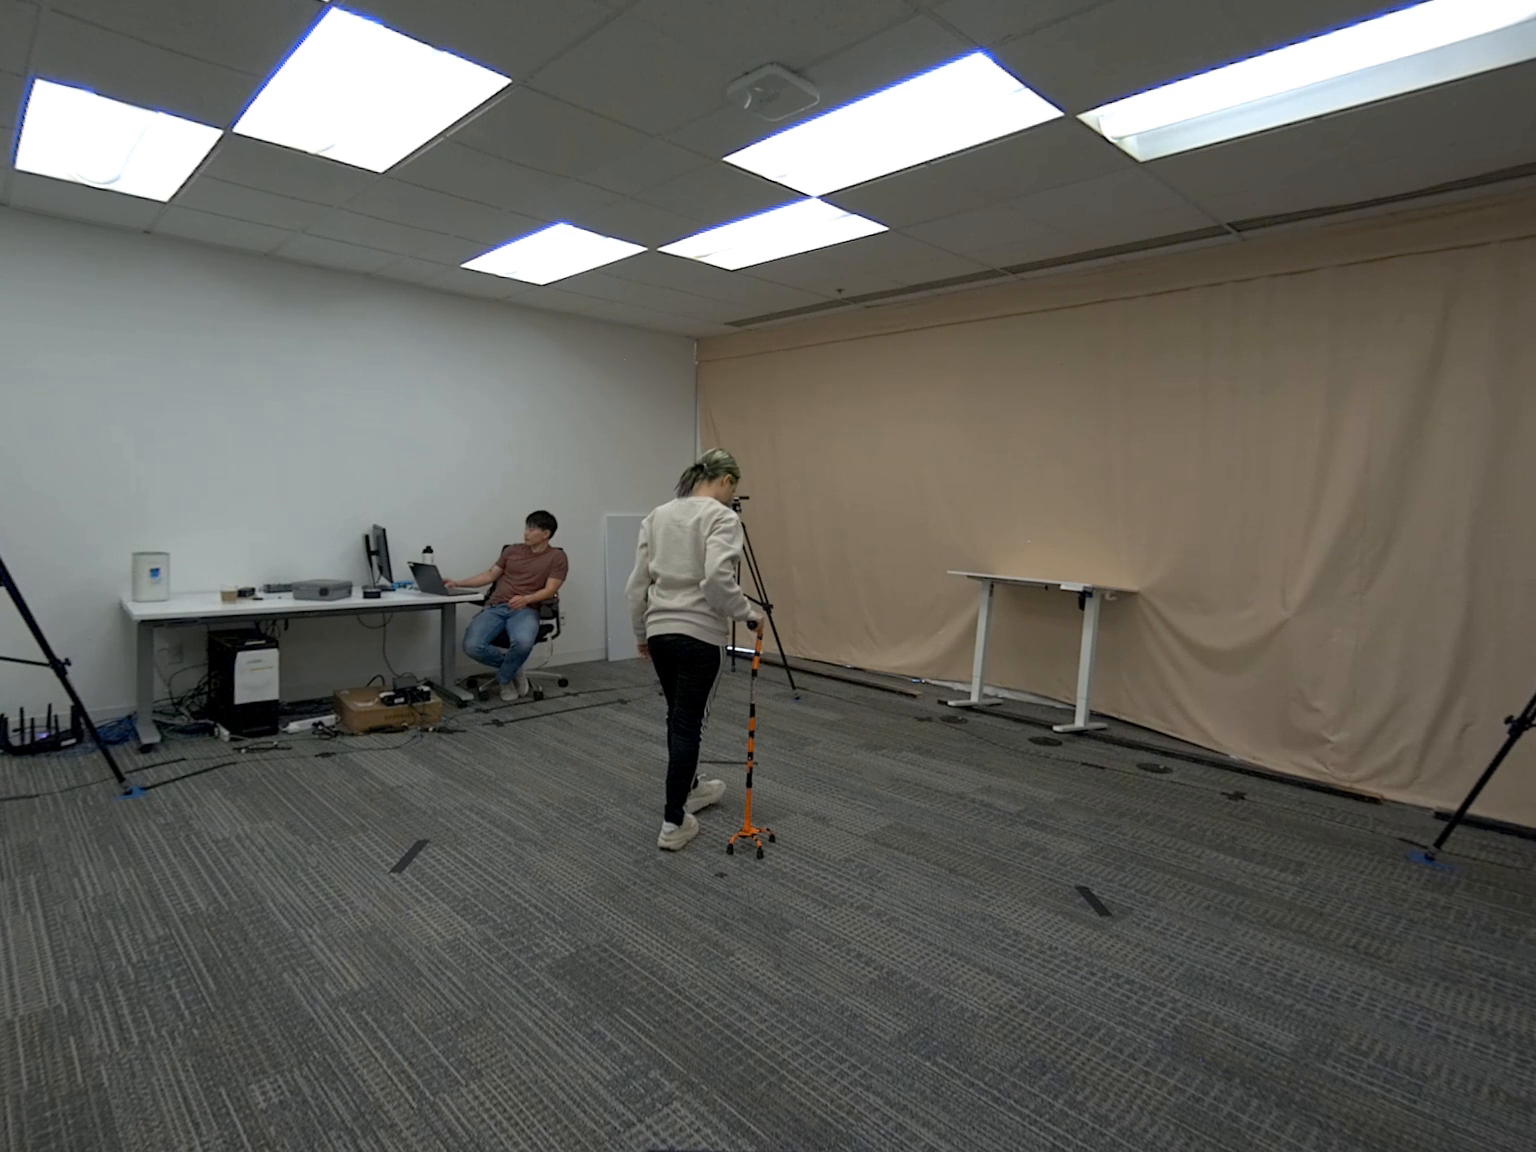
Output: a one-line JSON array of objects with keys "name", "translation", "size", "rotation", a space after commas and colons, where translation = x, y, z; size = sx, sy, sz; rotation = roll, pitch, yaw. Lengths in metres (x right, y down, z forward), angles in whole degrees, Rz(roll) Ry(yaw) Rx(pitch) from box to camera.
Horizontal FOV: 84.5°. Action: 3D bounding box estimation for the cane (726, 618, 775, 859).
[{"name": "cane", "translation": [-0.051, 0.626, 3.357], "size": [0.153, 0.908, 0.204], "rotation": [3, 0, 14]}]
